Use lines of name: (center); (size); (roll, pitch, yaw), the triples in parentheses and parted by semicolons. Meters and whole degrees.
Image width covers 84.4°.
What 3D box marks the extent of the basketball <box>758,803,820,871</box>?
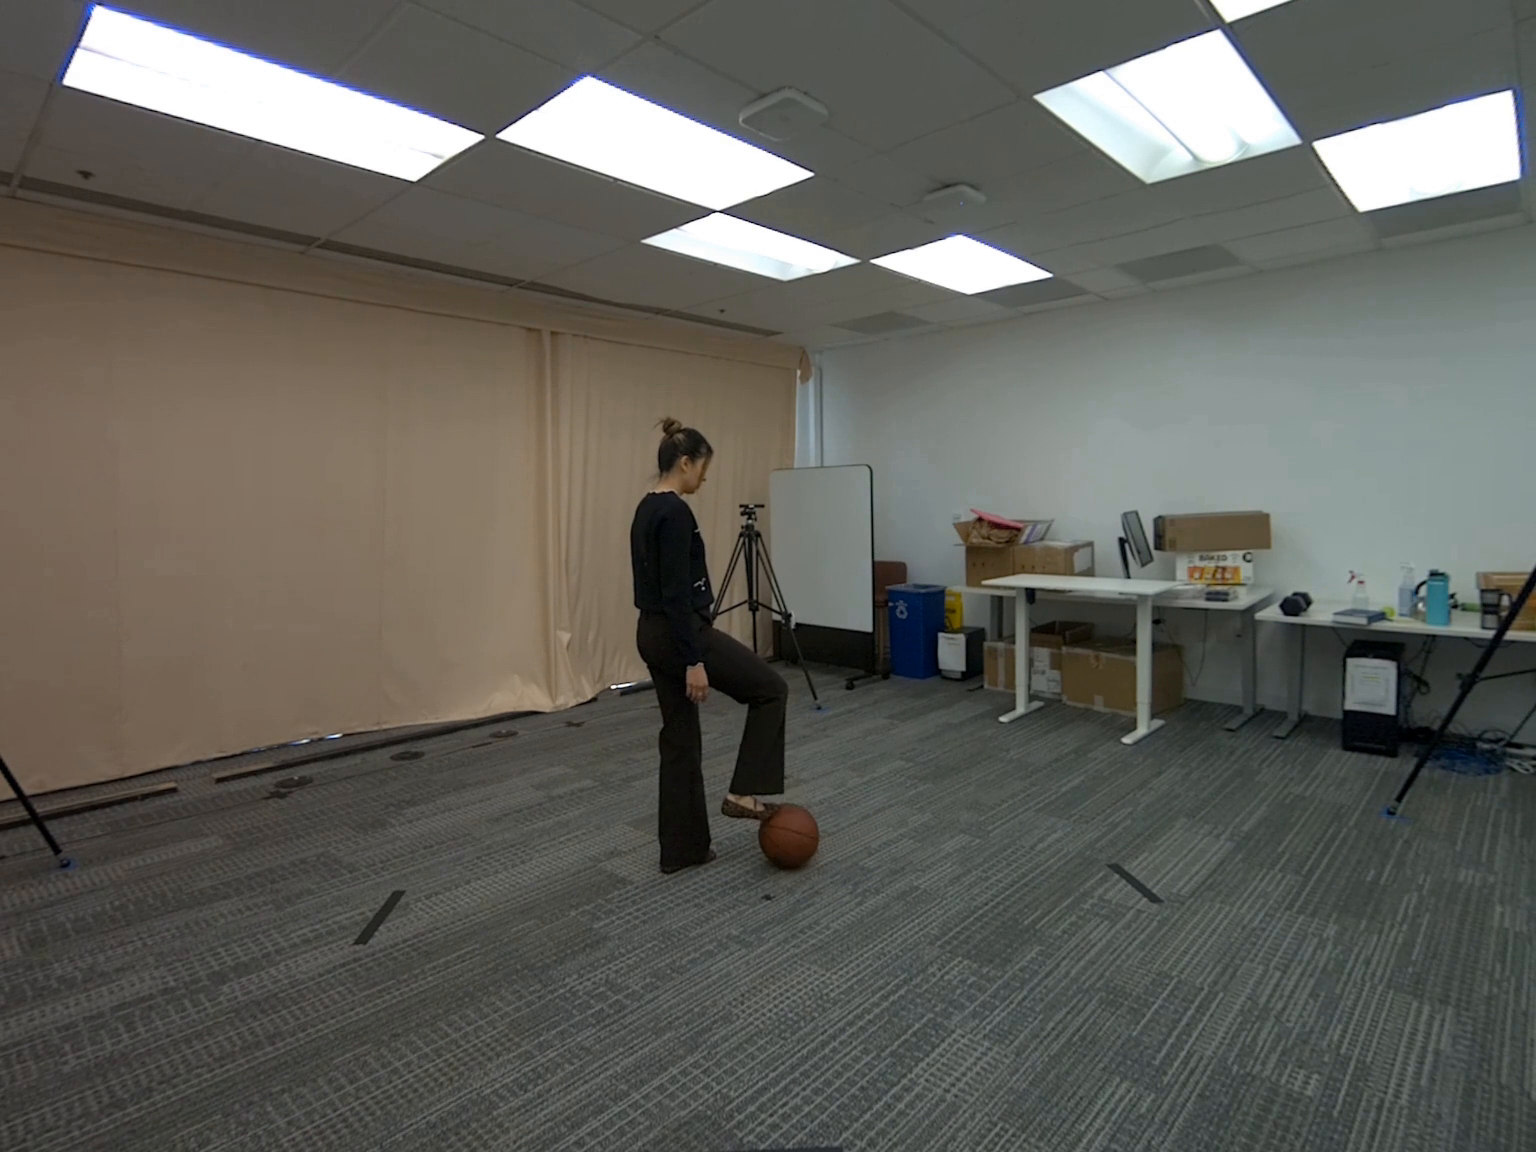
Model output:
basketball: (0.096, 0.999, 3.246); (0.236, 0.235, 0.237); (-1, 4, -2)
